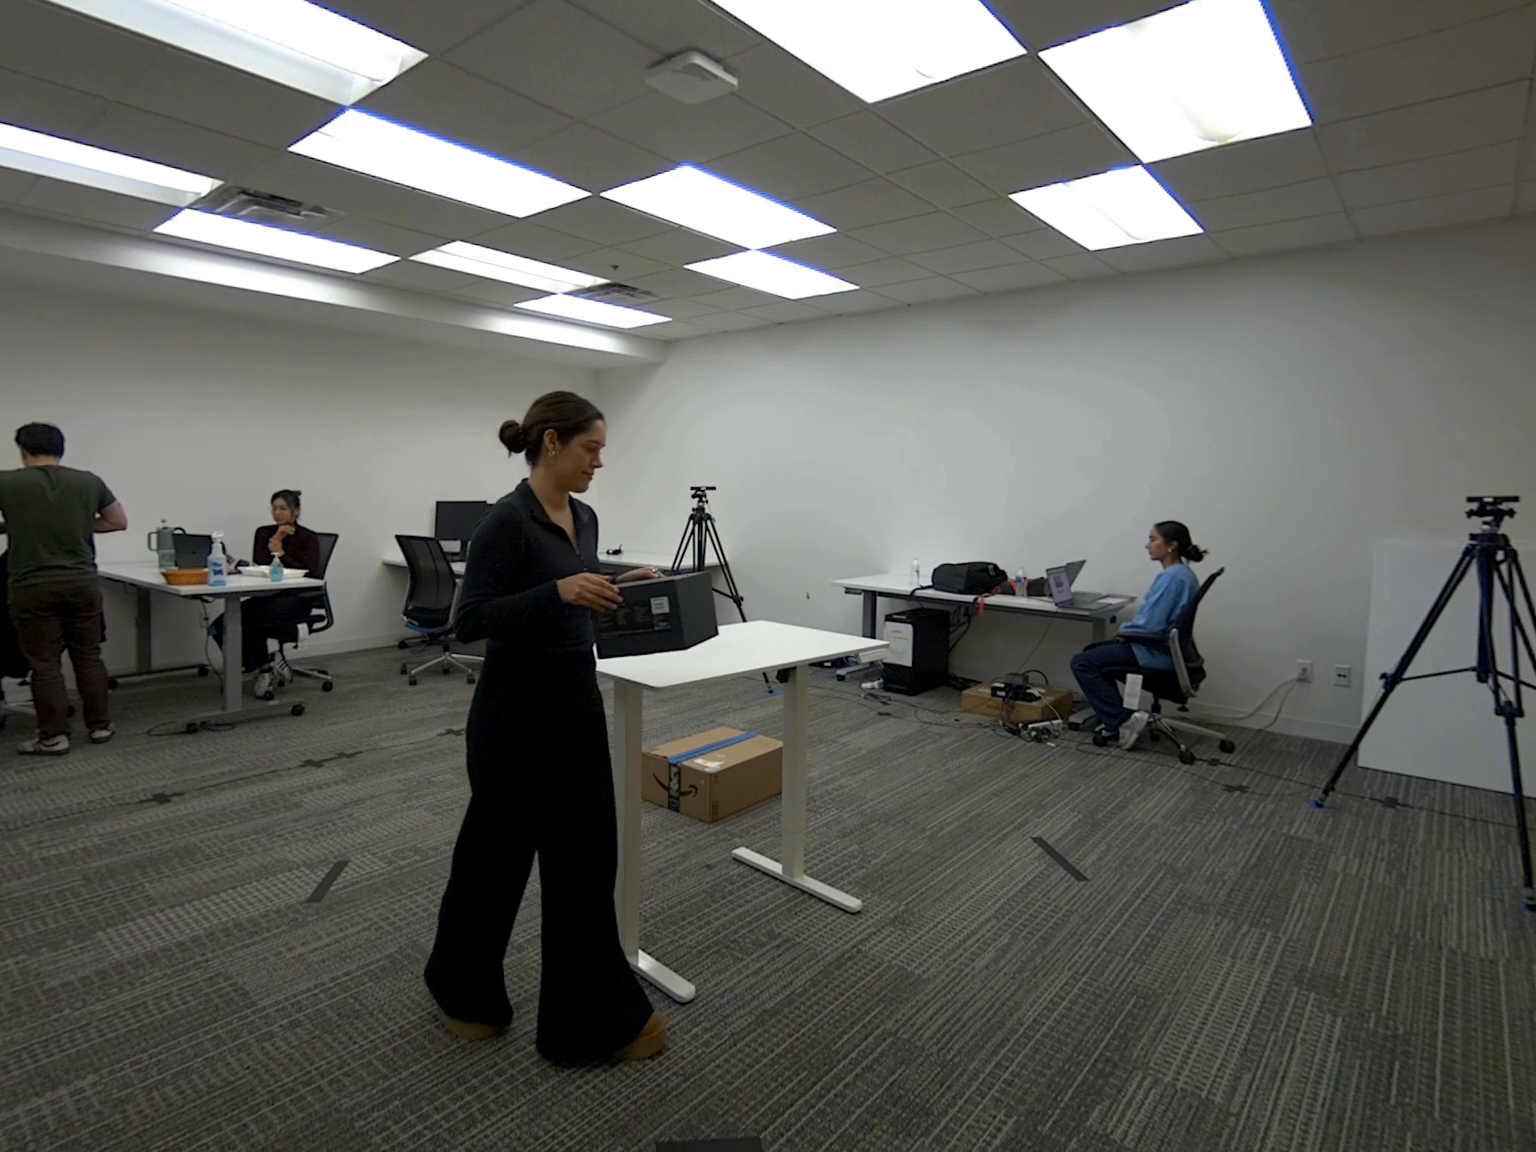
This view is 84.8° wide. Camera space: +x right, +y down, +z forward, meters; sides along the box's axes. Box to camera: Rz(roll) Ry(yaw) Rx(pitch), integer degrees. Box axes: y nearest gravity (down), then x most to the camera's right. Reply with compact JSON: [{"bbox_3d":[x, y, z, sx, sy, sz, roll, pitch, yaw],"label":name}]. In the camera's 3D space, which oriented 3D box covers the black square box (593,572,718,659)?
[{"bbox_3d":[-0.268,0.083,1.966,0.220,0.156,0.224,-8,2,18],"label":"black square box"}]
